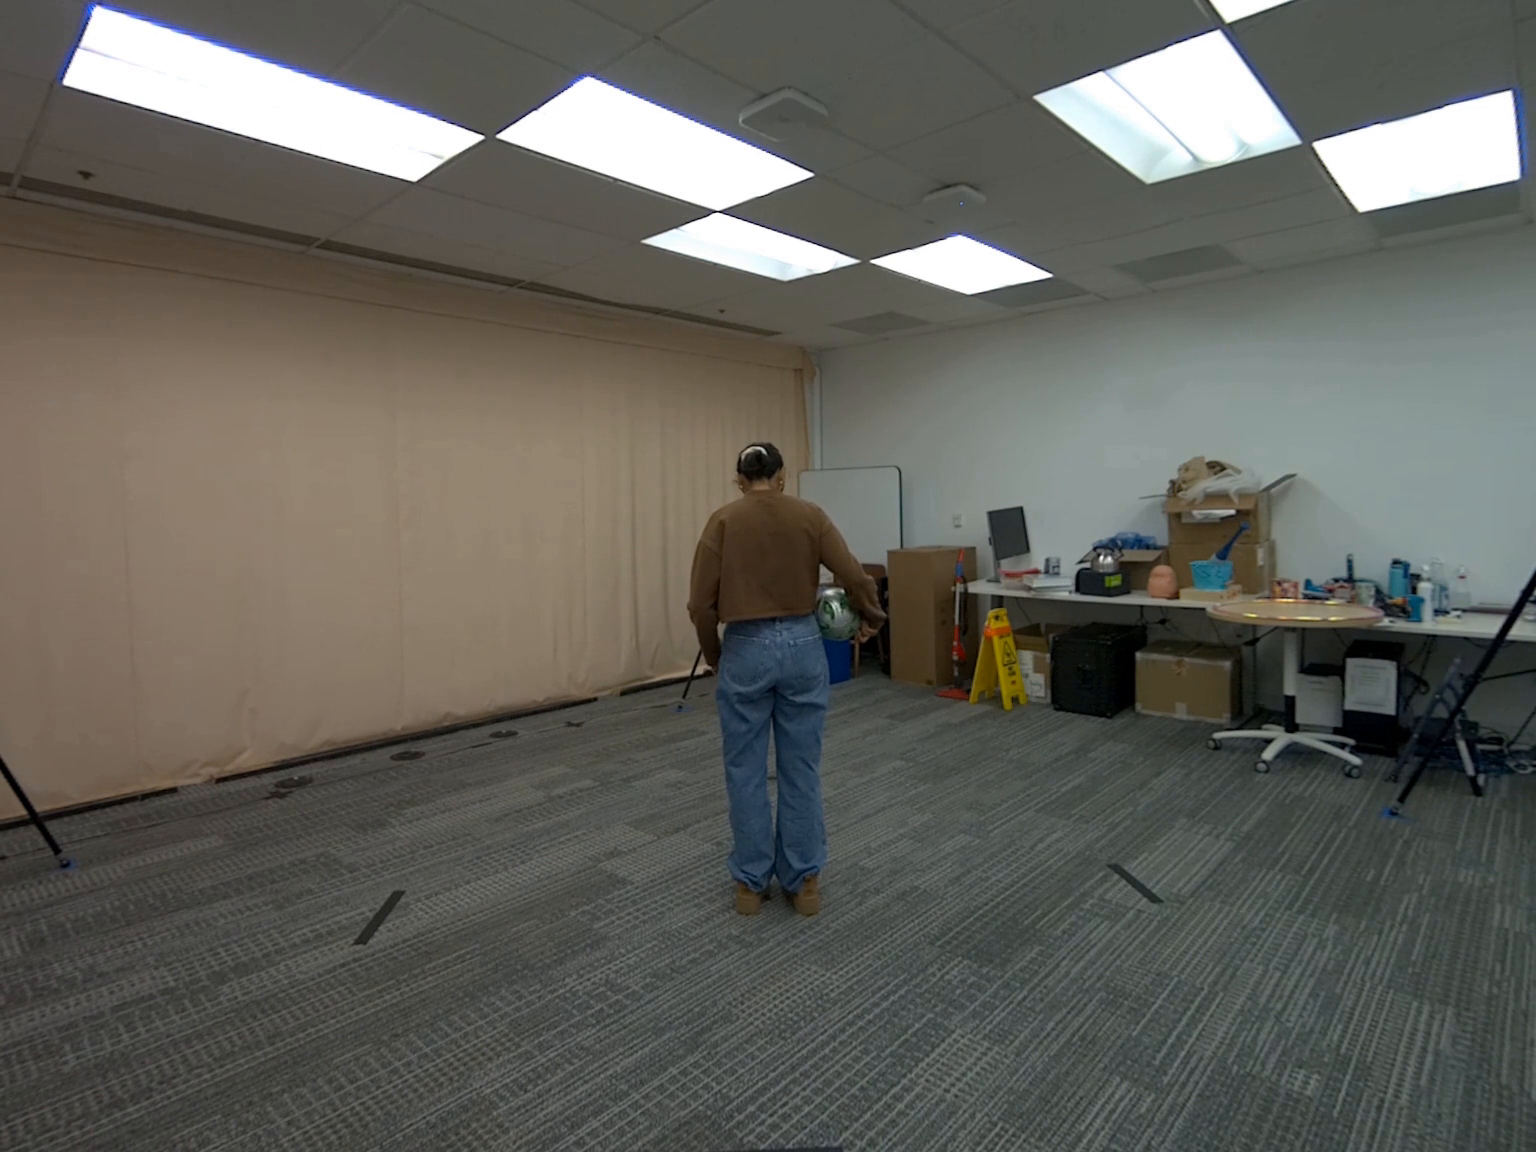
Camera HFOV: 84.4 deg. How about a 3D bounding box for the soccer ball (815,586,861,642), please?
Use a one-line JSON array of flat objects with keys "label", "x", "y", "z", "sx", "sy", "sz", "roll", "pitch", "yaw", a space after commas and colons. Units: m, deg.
[{"label": "soccer ball", "x": 0.245, "y": 0.138, "z": 2.978, "sx": 0.187, "sy": 0.187, "sz": 0.188, "roll": -1, "pitch": 4, "yaw": -2}]
